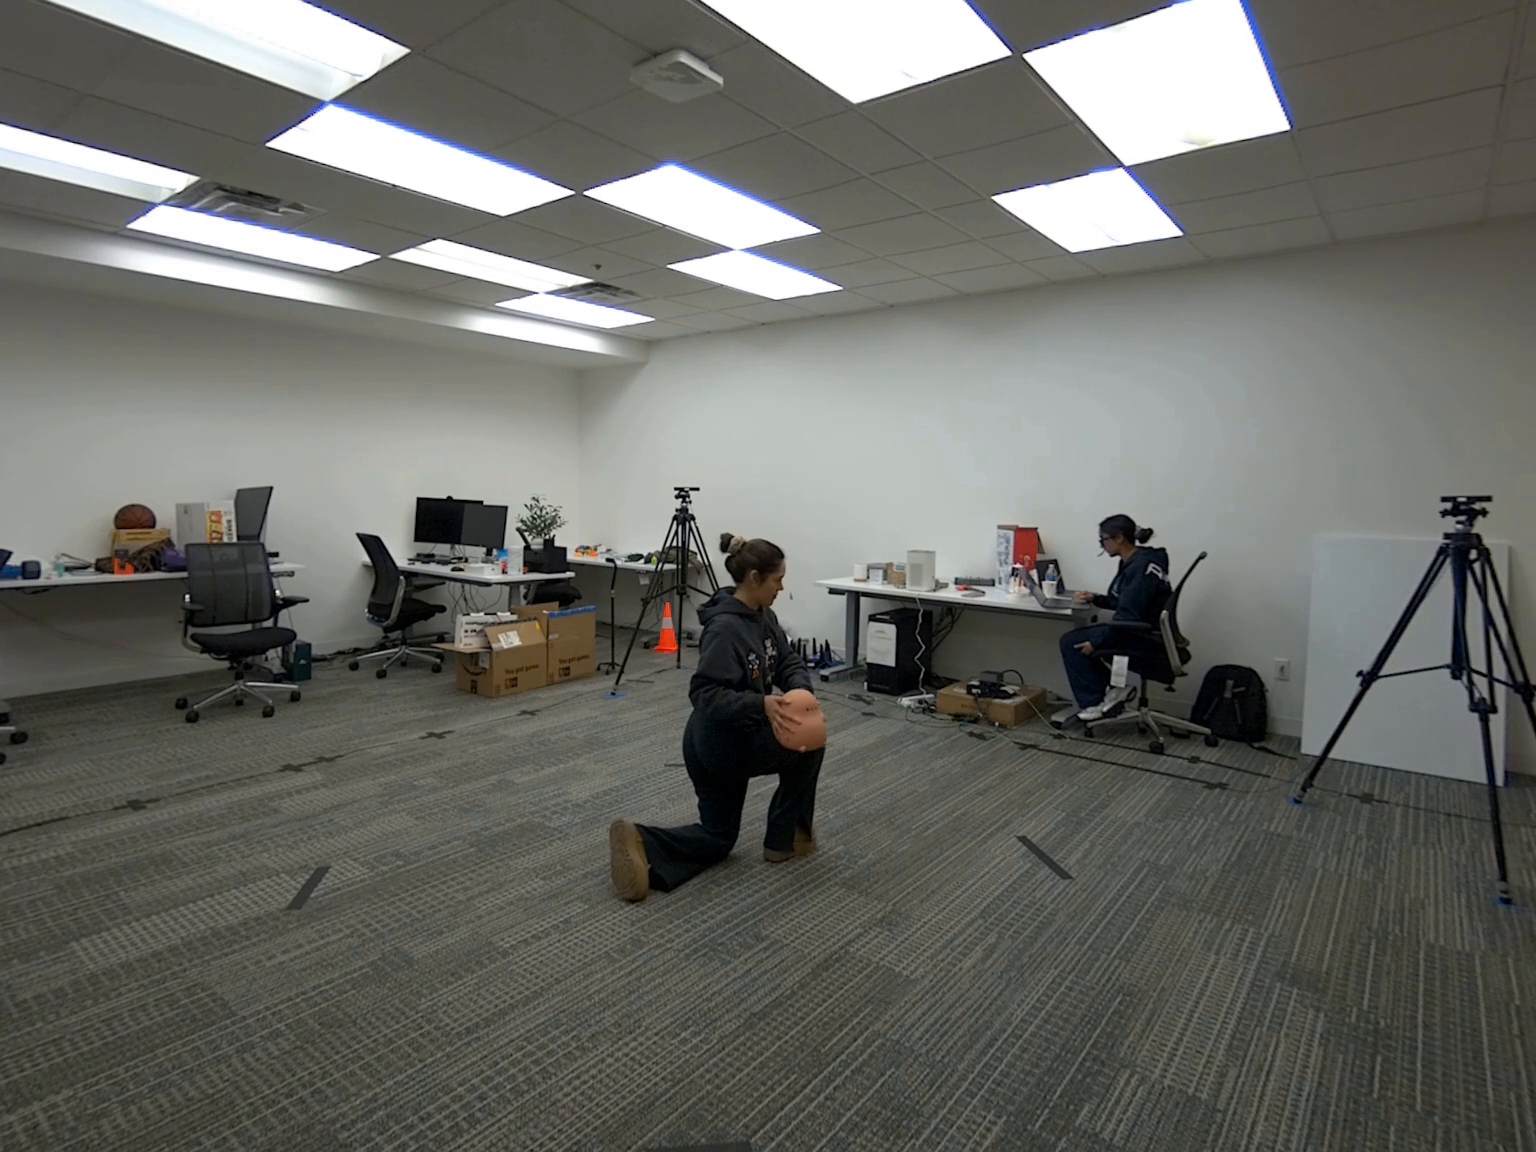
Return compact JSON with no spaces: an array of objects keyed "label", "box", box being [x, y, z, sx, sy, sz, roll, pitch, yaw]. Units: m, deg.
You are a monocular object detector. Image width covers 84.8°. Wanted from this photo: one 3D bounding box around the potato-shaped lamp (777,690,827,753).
[{"label":"potato-shaped lamp","box":[0.103,0.488,2.922,0.160,0.198,0.177,-2,3,-39]}]
